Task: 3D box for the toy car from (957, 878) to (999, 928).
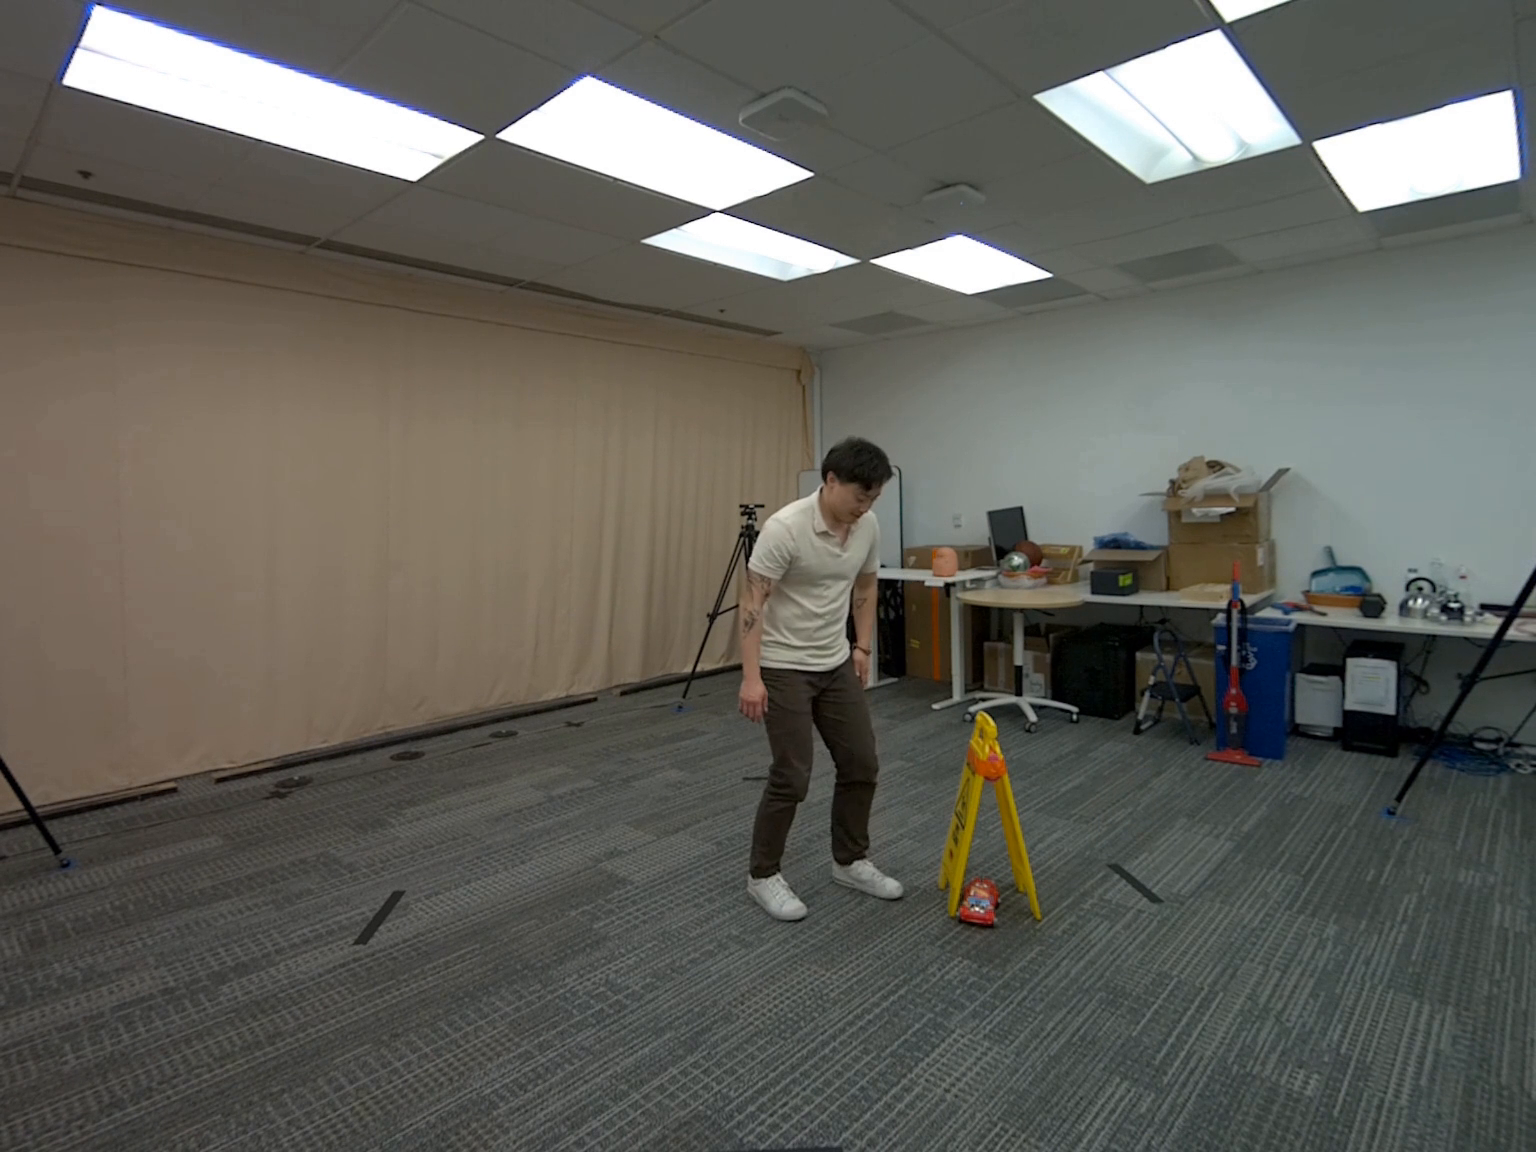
[{"bbox_3d":[0.736,1.117,2.846,0.133,0.082,0.252,1,17,19],"label":"toy car"}]
